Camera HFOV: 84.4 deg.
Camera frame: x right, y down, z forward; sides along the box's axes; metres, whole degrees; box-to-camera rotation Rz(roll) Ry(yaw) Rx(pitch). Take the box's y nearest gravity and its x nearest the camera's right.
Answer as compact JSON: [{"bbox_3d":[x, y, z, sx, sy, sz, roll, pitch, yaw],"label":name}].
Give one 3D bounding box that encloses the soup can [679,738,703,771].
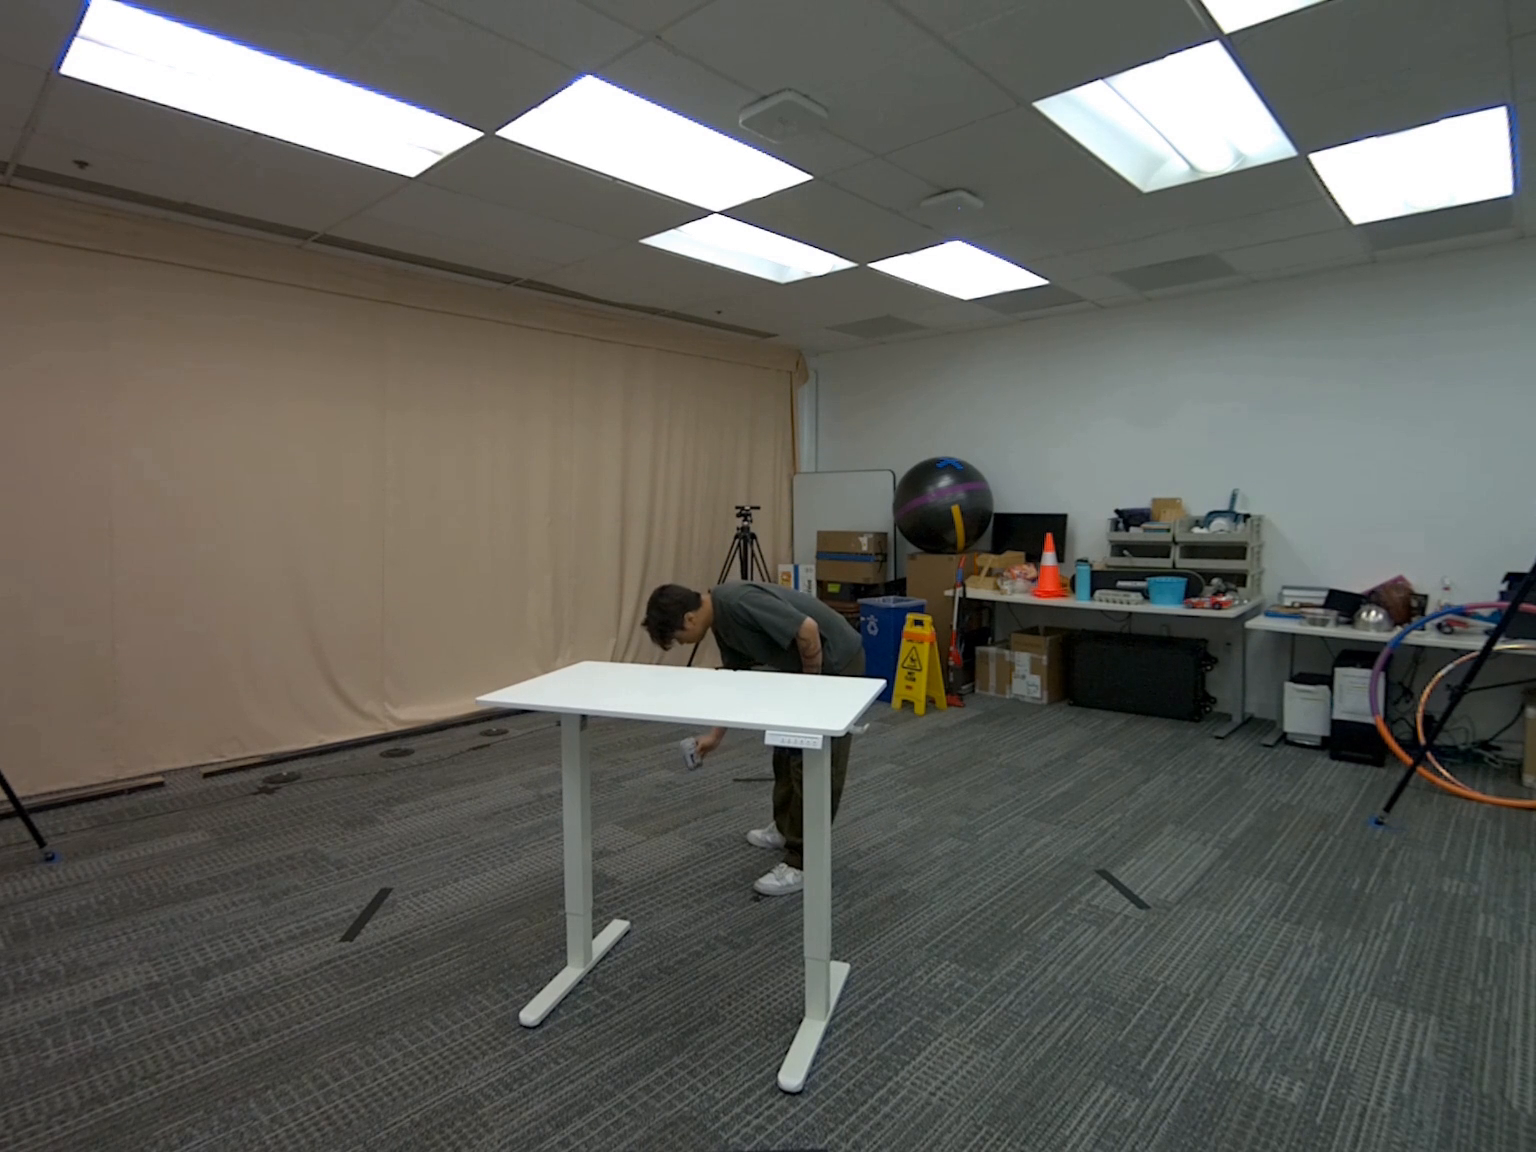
[{"bbox_3d":[-0.320,0.720,3.445,0.067,0.121,0.067,-15,3,-1],"label":"soup can"}]
